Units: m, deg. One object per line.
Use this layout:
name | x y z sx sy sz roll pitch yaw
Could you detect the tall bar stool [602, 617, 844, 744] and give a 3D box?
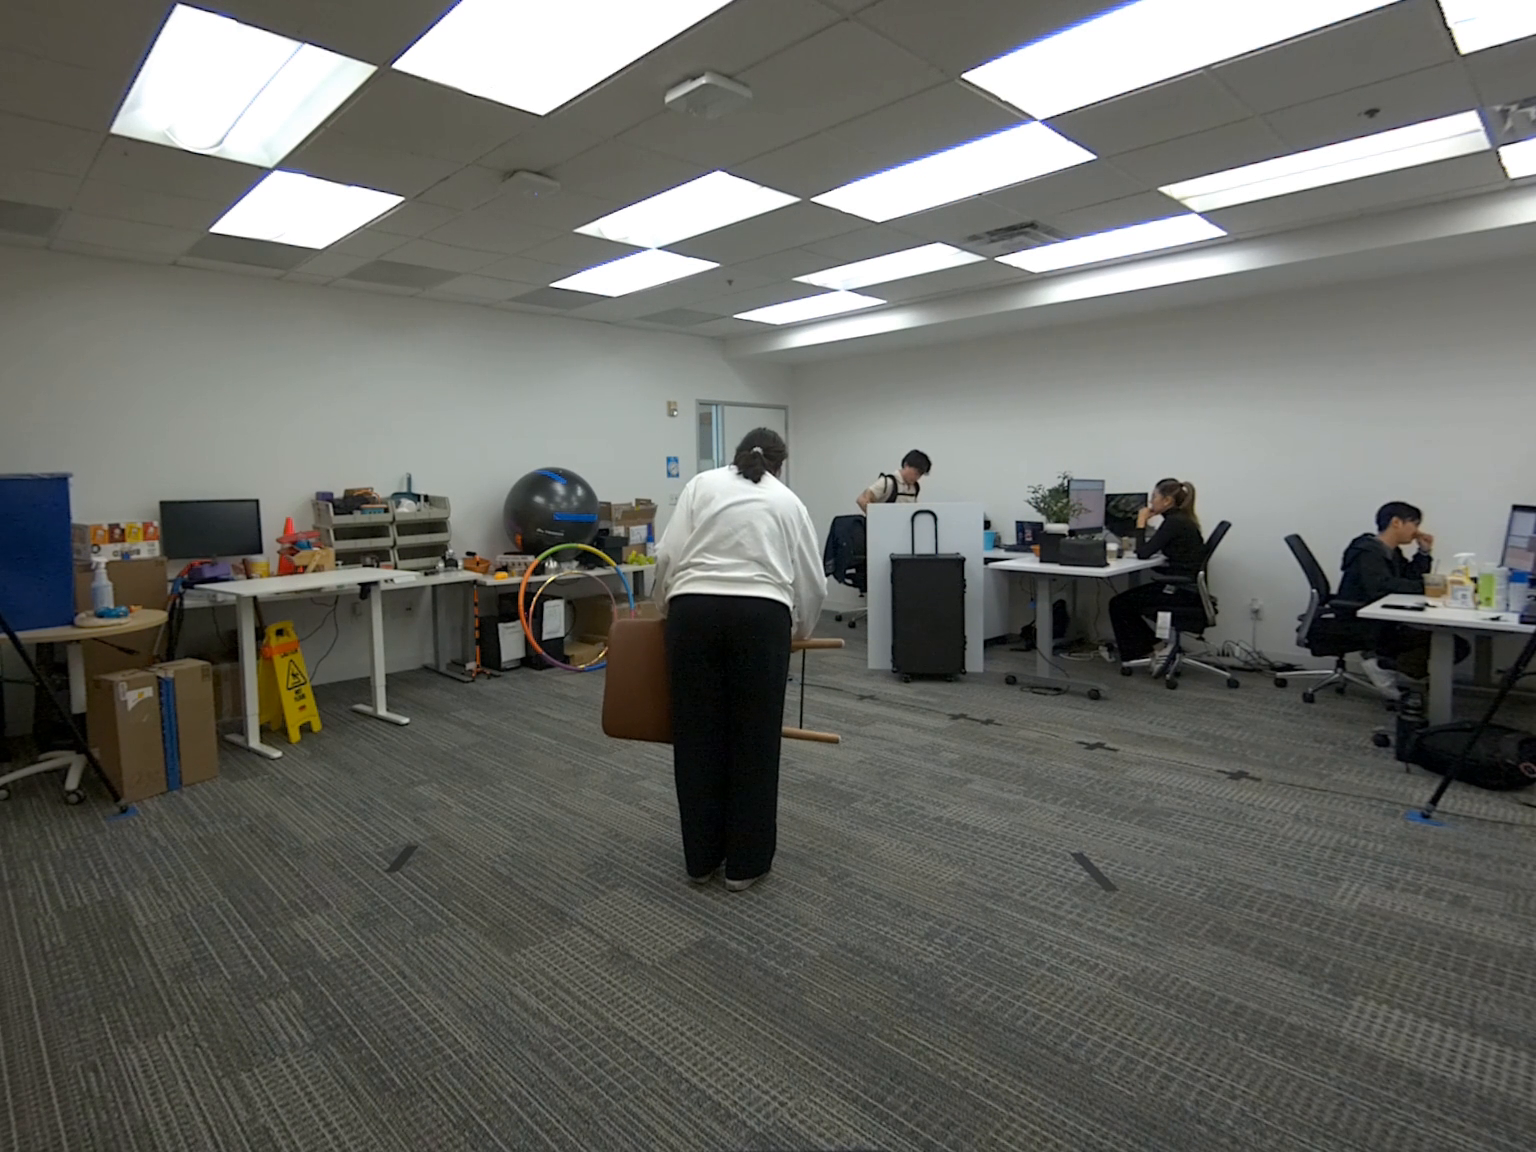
tall bar stool | -0.202 0.402 3.255 0.876 0.459 0.472 4 -7 -16
